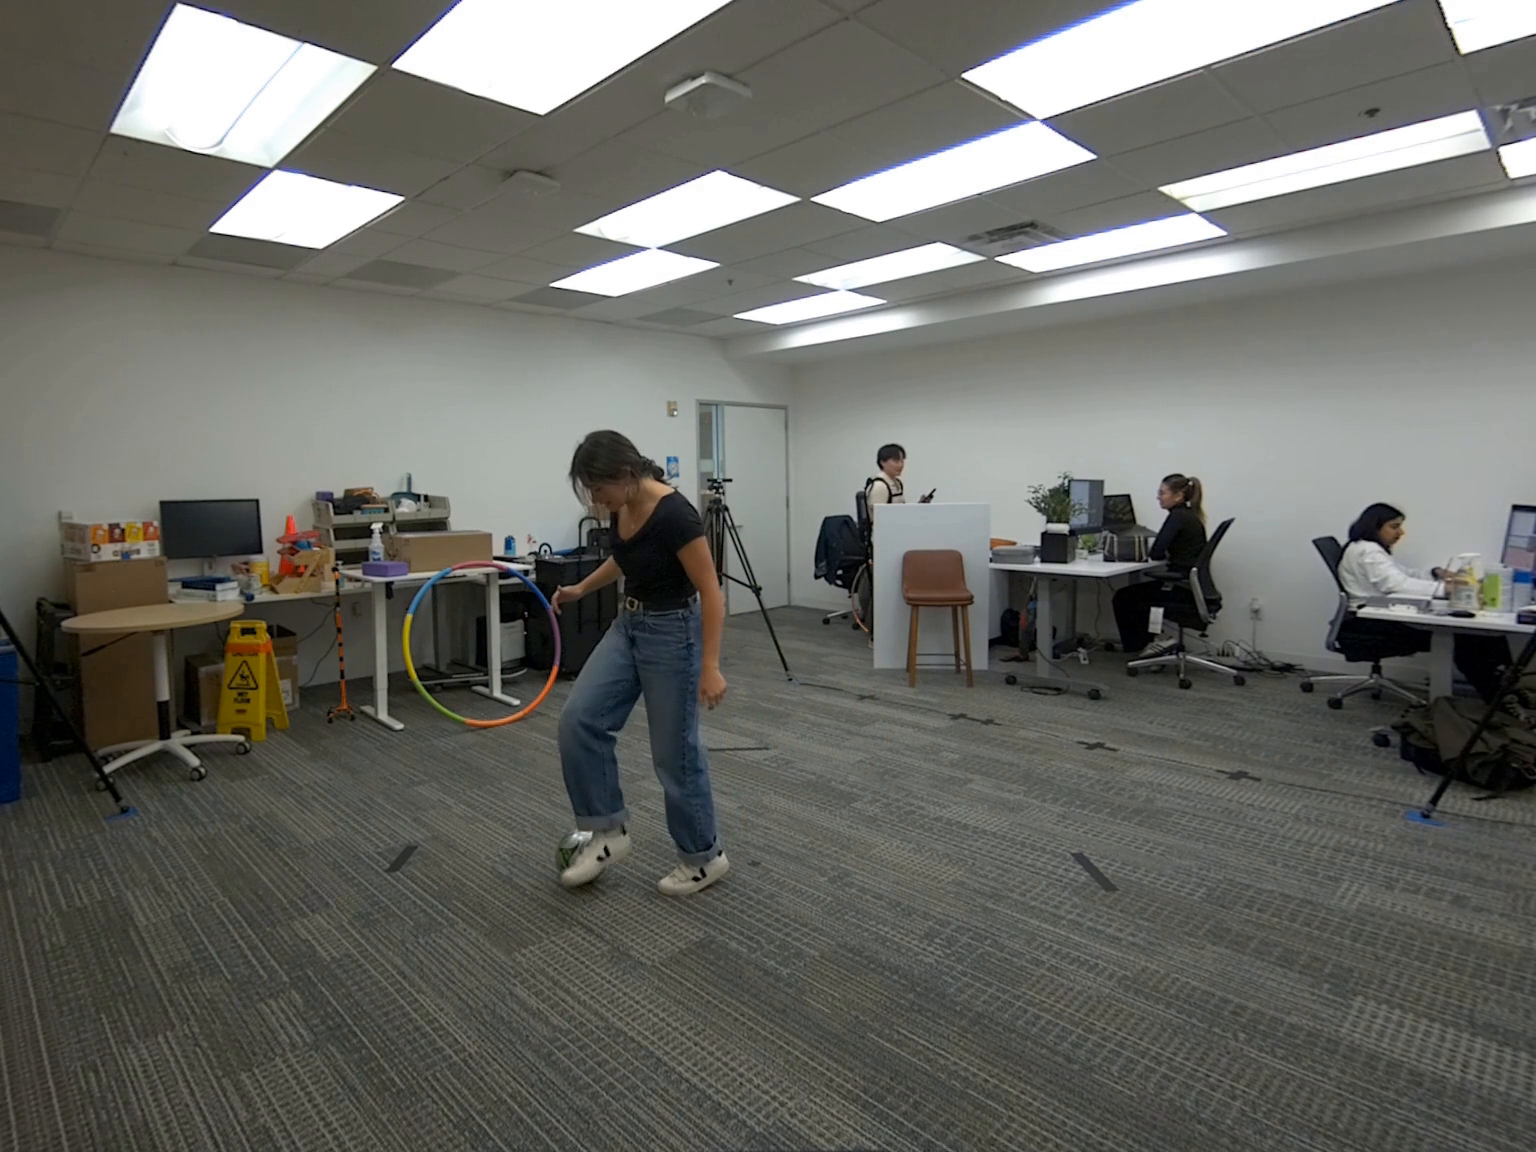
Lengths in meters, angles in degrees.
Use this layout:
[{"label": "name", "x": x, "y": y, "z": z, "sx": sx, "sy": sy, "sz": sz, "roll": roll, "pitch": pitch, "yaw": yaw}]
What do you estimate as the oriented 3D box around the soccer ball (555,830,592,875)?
[{"label": "soccer ball", "x": -0.645, "y": 0.979, "z": 2.994, "sx": 0.187, "sy": 0.187, "sz": 0.188, "roll": -1, "pitch": 5, "yaw": -2}]
